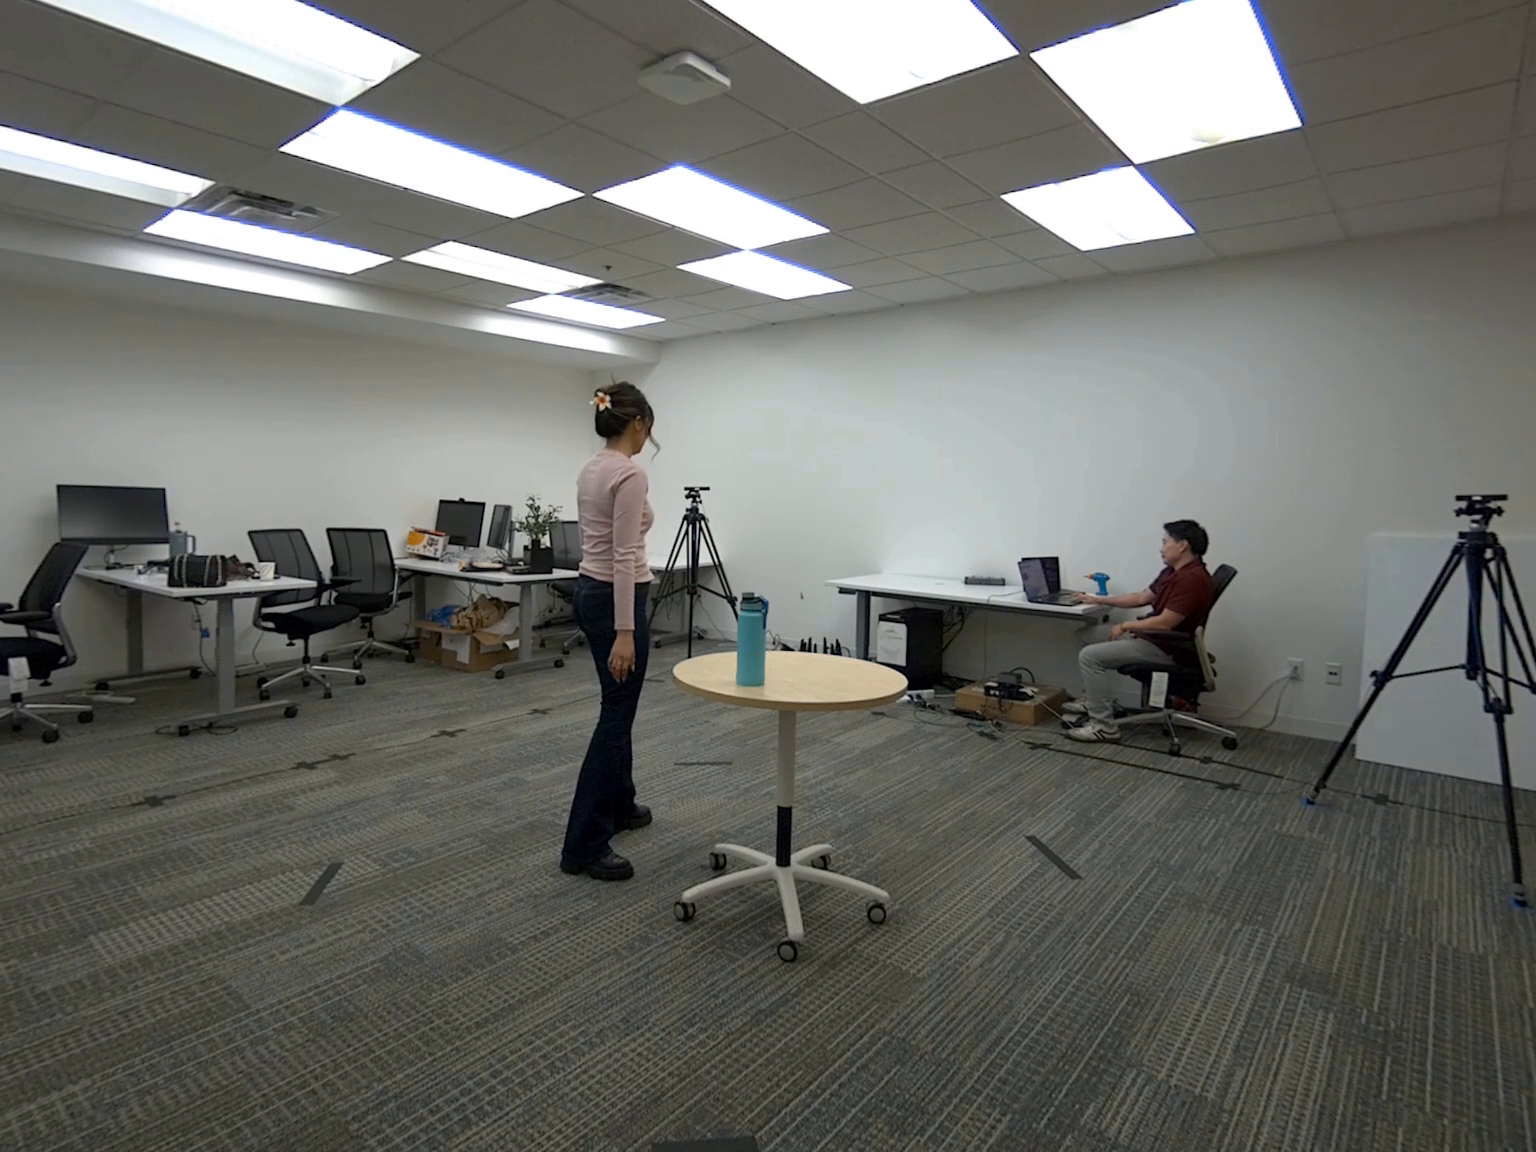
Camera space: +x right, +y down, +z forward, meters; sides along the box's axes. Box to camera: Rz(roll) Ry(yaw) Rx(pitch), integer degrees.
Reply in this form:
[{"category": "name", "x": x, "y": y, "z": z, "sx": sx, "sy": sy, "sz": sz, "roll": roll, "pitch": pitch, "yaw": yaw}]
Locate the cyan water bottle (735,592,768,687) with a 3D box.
[{"category": "cyan water bottle", "x": -0.052, "y": 0.192, "z": 2.627, "sx": 0.092, "sy": 0.282, "sz": 0.093, "roll": 2, "pitch": 3, "yaw": -2}]
